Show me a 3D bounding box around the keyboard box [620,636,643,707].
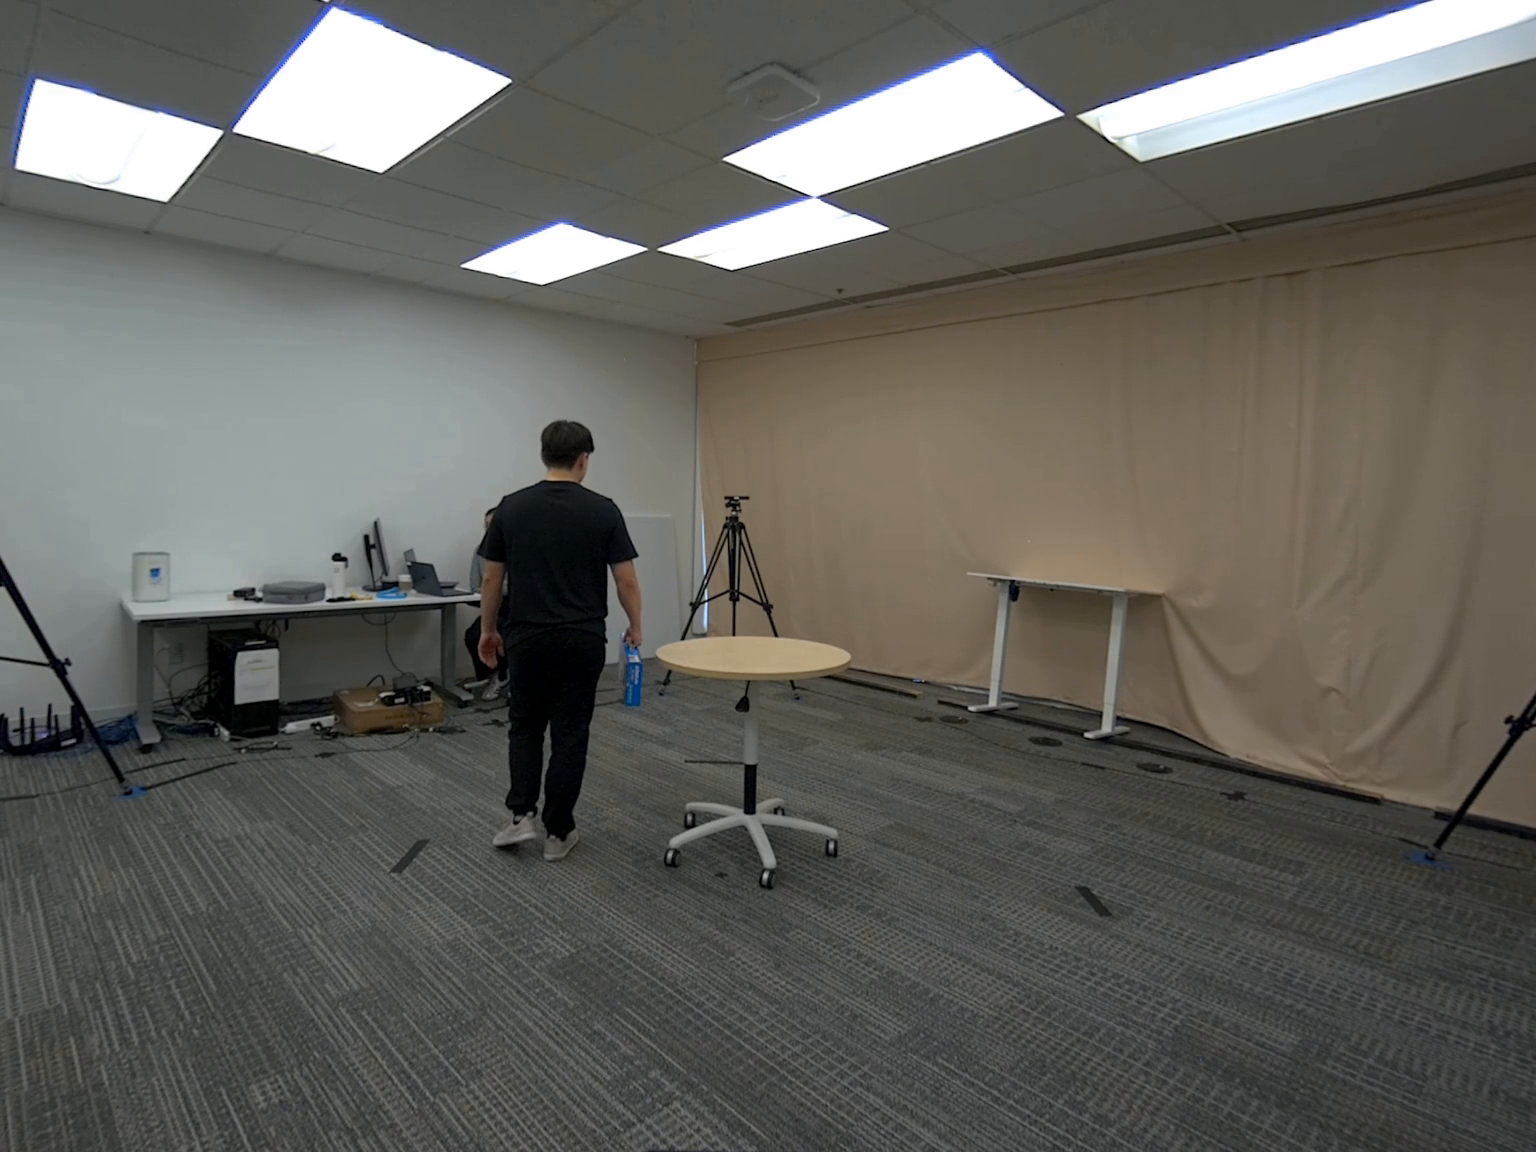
[{"bbox_3d":[-0.562,0.372,3.409,0.058,0.175,0.444,1,10,-14],"label":"keyboard box"}]
